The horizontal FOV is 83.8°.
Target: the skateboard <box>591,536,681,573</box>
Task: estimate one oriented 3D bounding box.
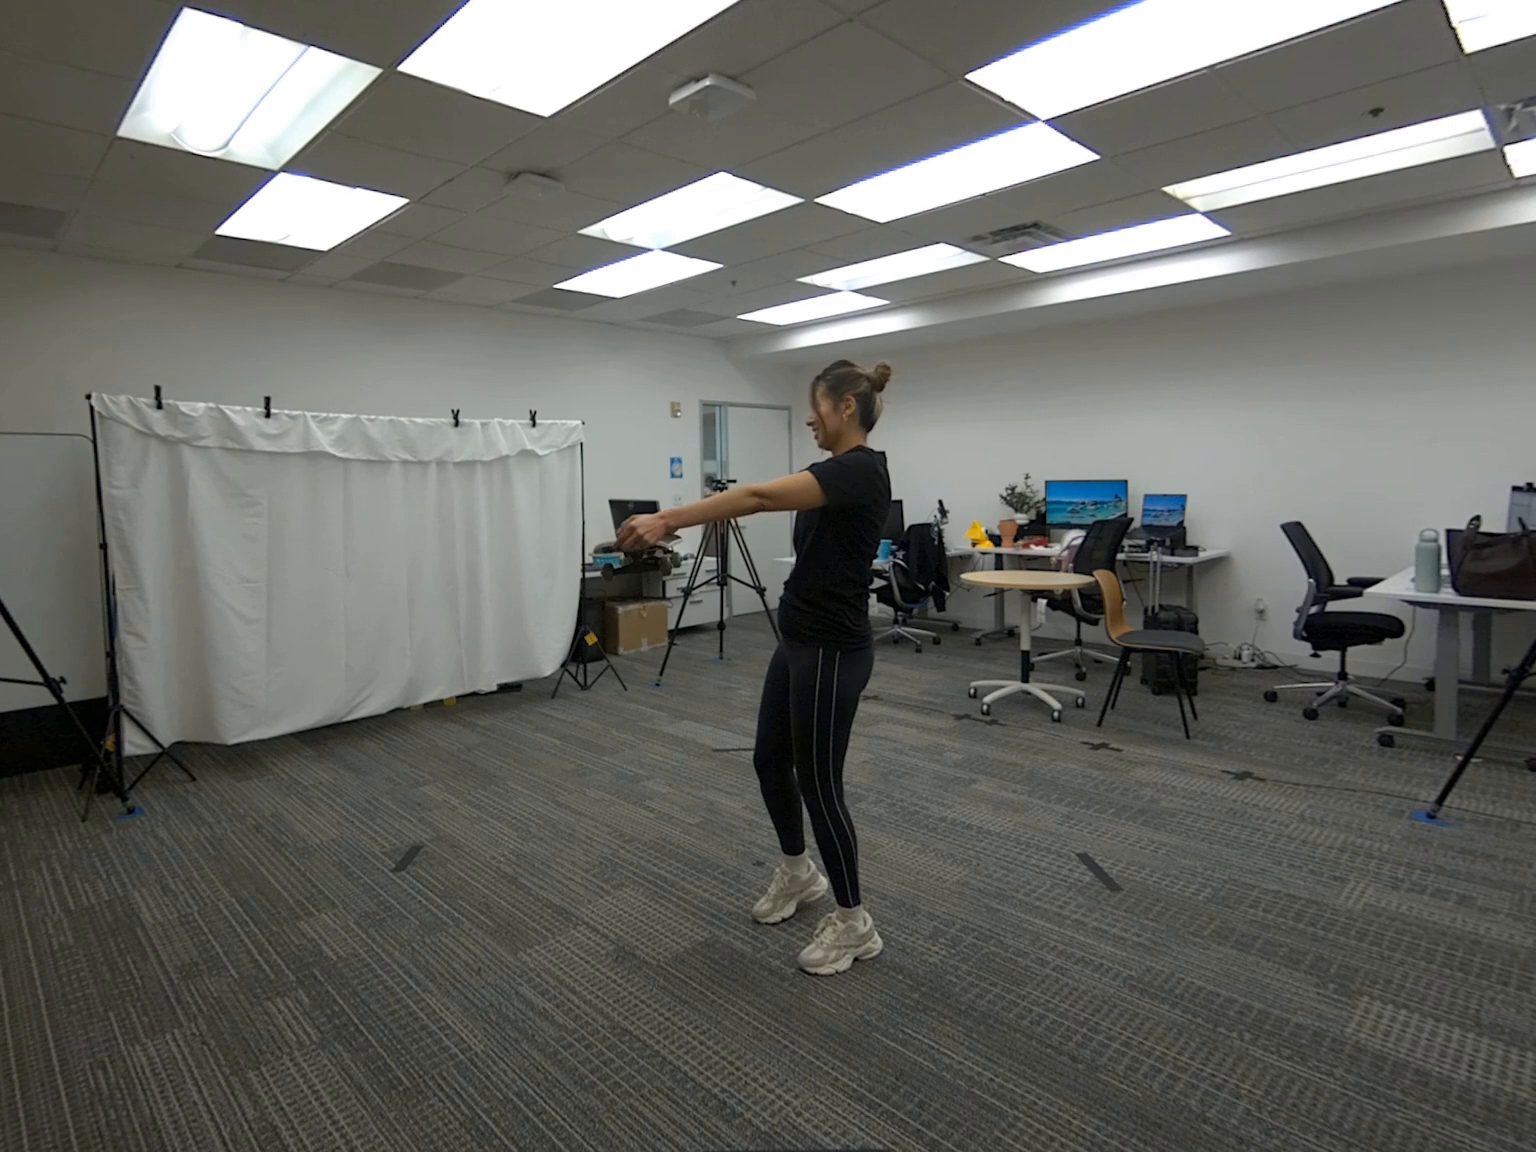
[{"bbox_3d":[-0.352,-0.062,2.454,0.193,0.110,0.790,-3,3,-5],"label":"skateboard"}]
